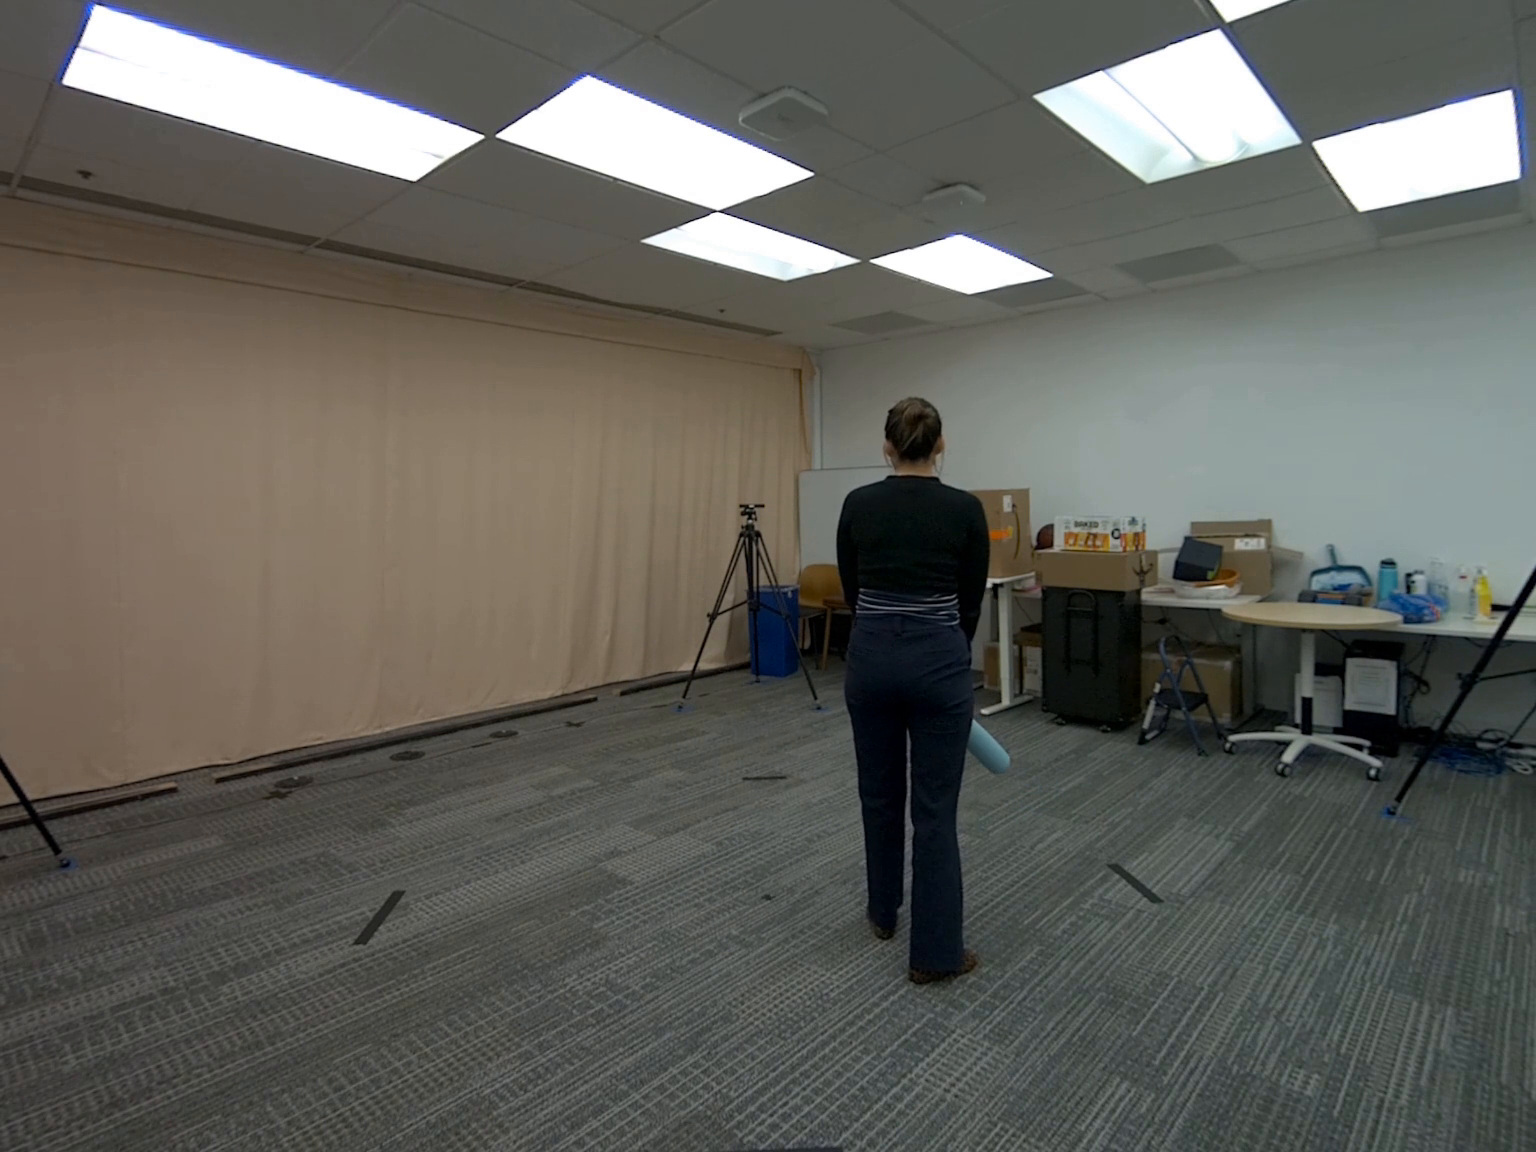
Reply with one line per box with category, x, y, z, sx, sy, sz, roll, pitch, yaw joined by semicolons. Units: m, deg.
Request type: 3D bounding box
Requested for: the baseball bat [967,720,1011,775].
baseball bat;0.617;0.459;2.764;0.535;0.089;0.090;44;-8;-12
